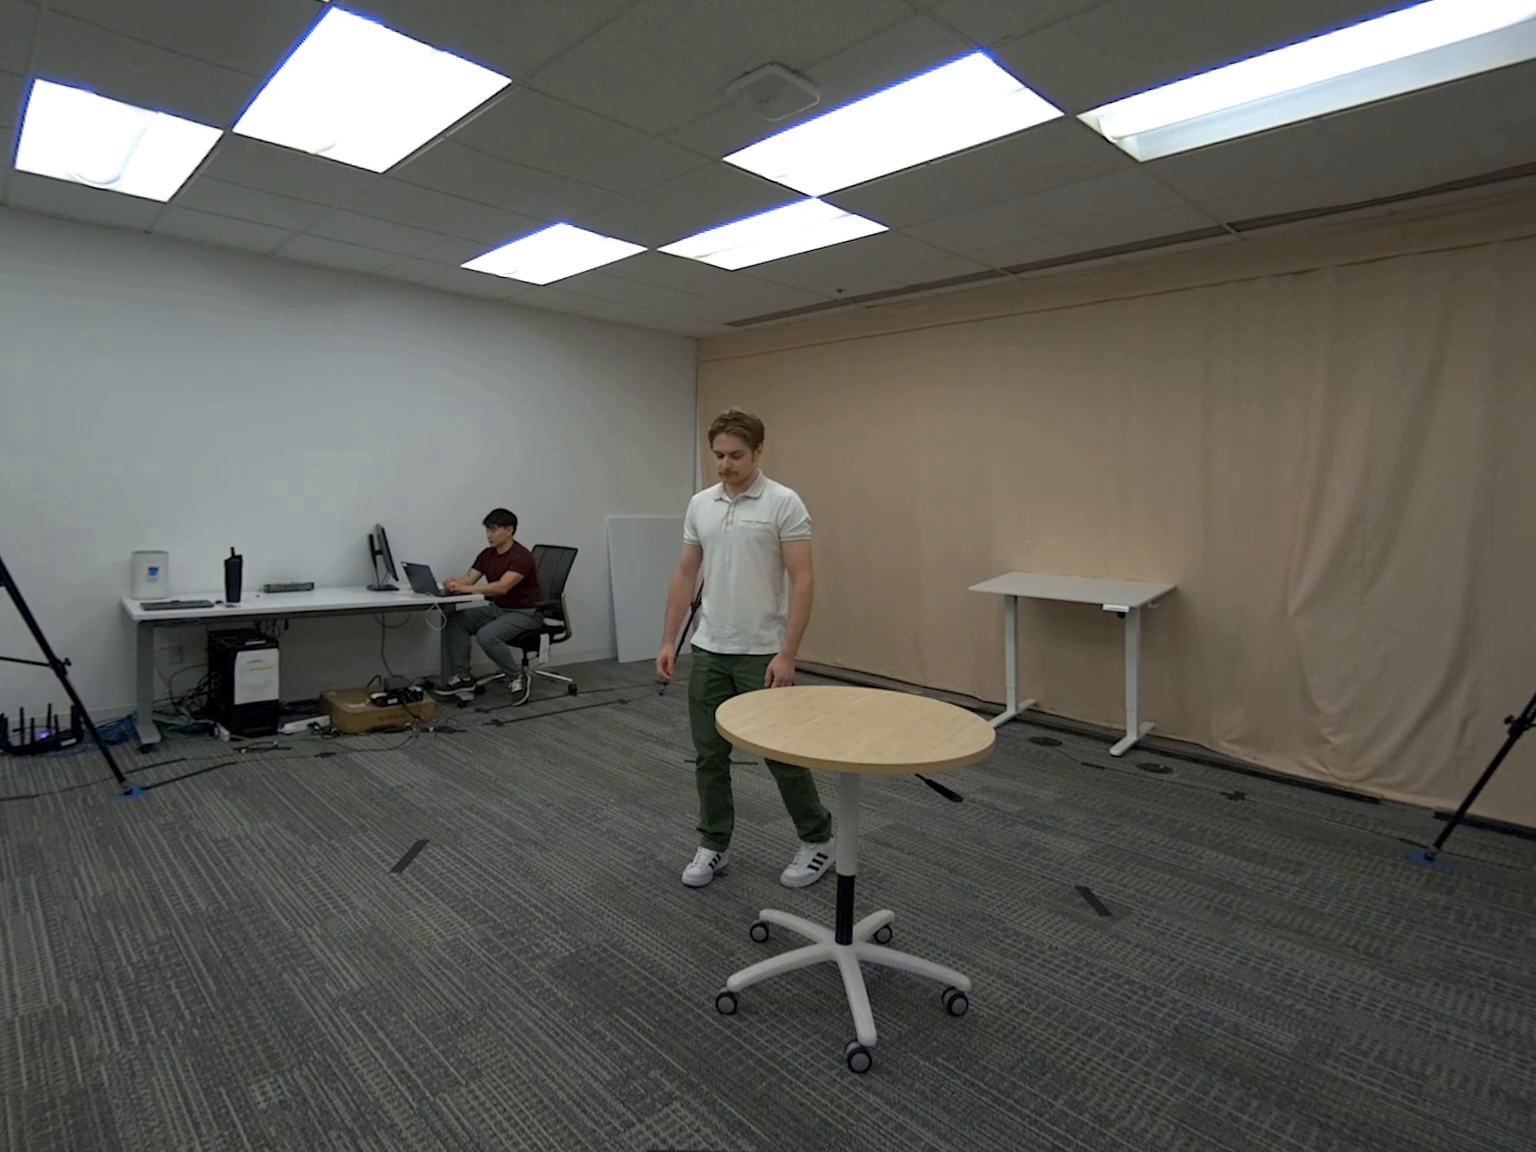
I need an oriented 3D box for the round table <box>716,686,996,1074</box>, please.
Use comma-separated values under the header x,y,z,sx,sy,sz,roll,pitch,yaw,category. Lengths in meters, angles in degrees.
x,y,z,sx,sy,sz,roll,pitch,yaw,category
0.219,0.794,2.377,0.763,0.791,0.767,2,5,-2,round table
